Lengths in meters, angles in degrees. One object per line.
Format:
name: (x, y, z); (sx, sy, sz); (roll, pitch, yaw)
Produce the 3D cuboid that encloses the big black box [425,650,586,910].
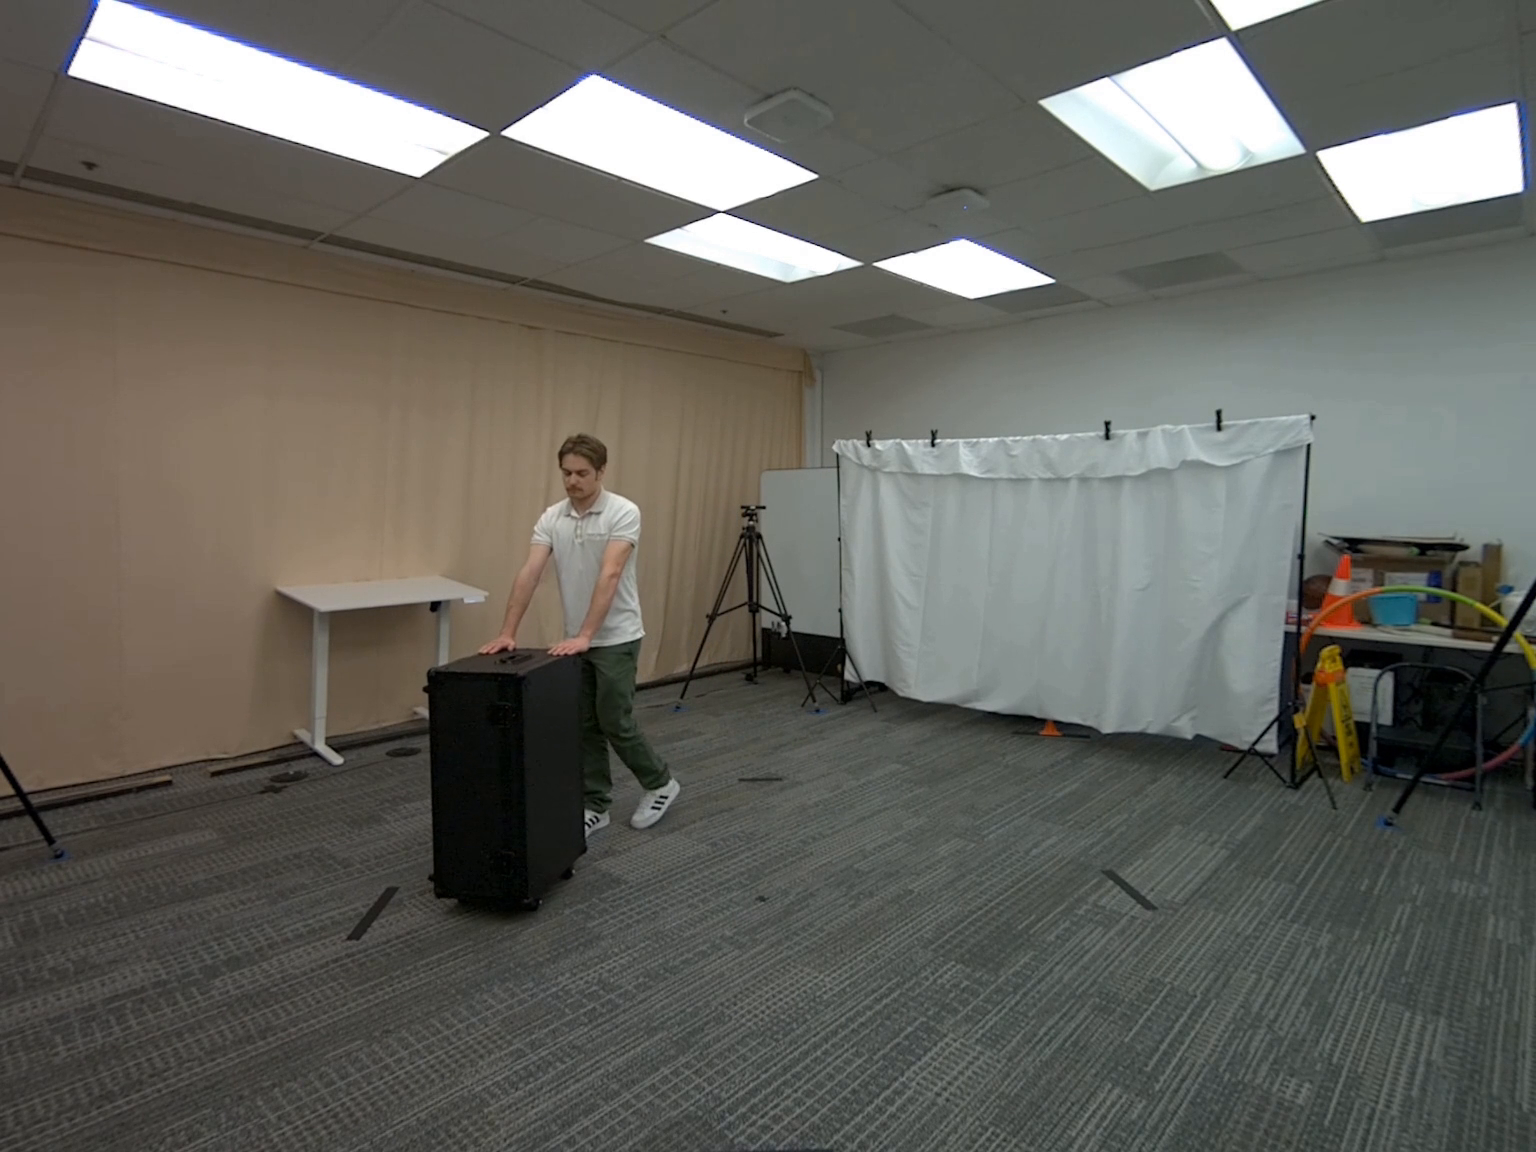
big black box: (-0.925, 0.725, 3.032); (0.391, 0.866, 0.517); (0, 4, 12)
